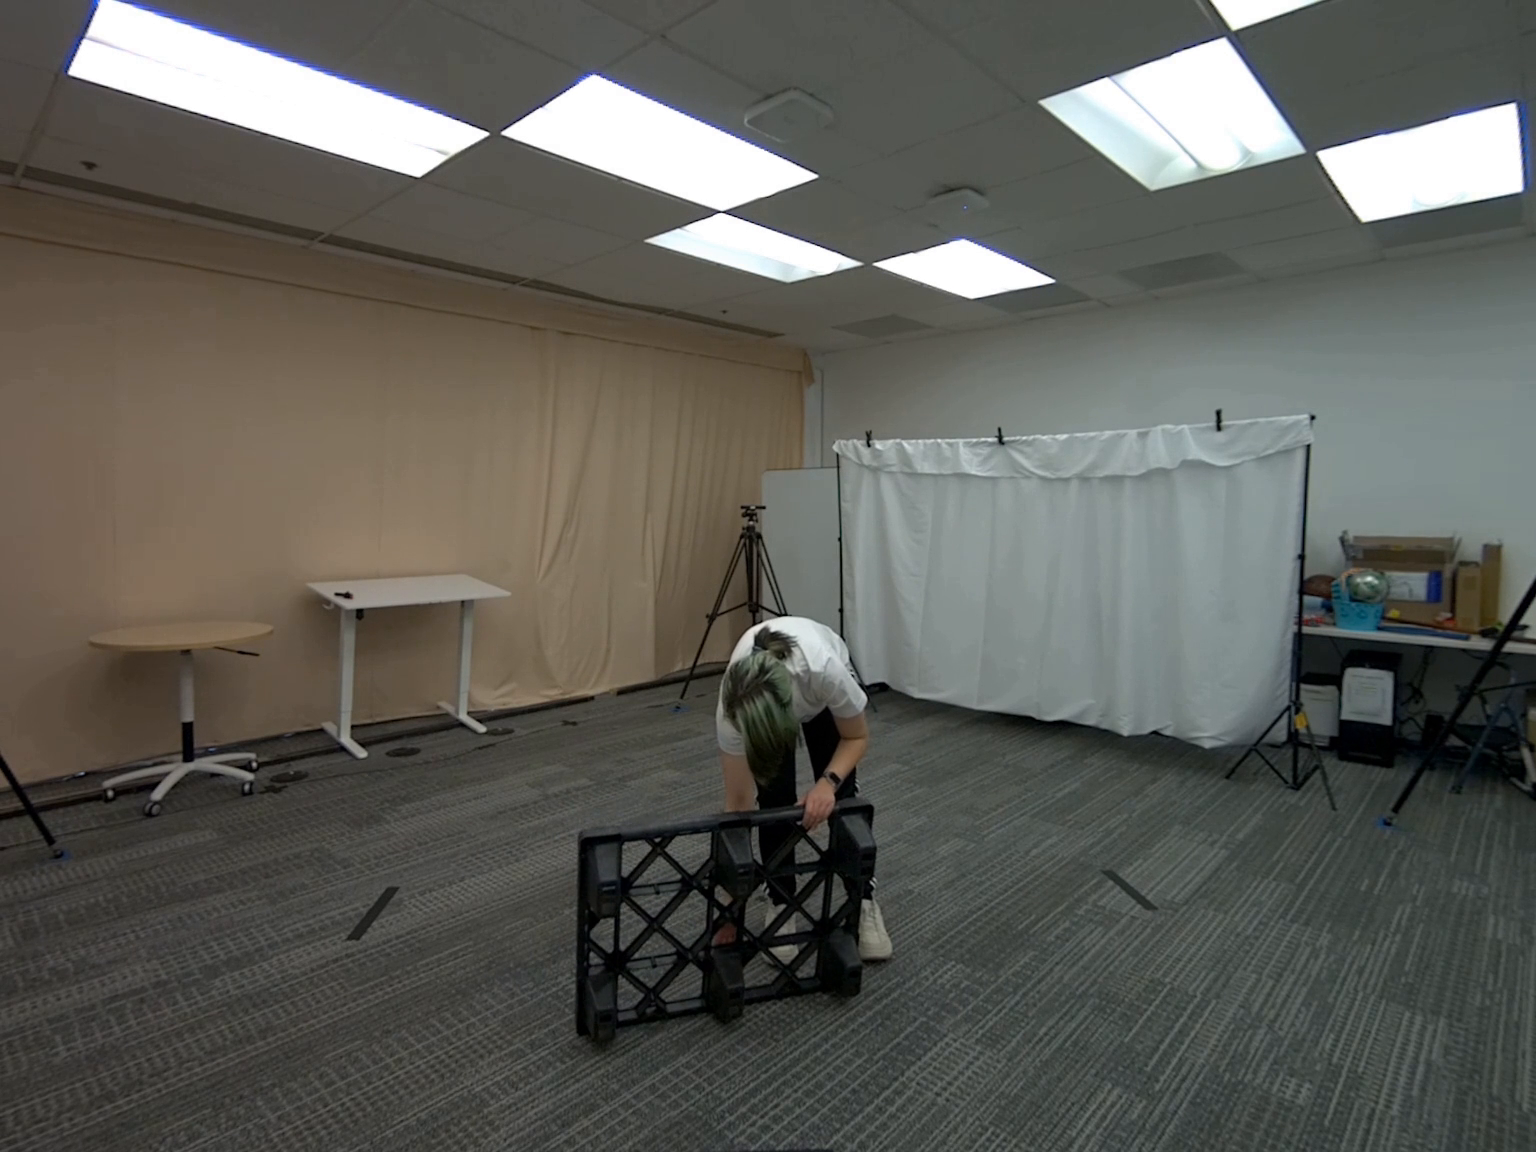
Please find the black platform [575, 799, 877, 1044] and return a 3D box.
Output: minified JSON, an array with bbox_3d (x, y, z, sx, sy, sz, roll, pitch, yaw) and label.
[{"bbox_3d":[-0.106,0.930,2.217,0.792,0.600,0.147,-2,15,-17],"label":"black platform"}]
